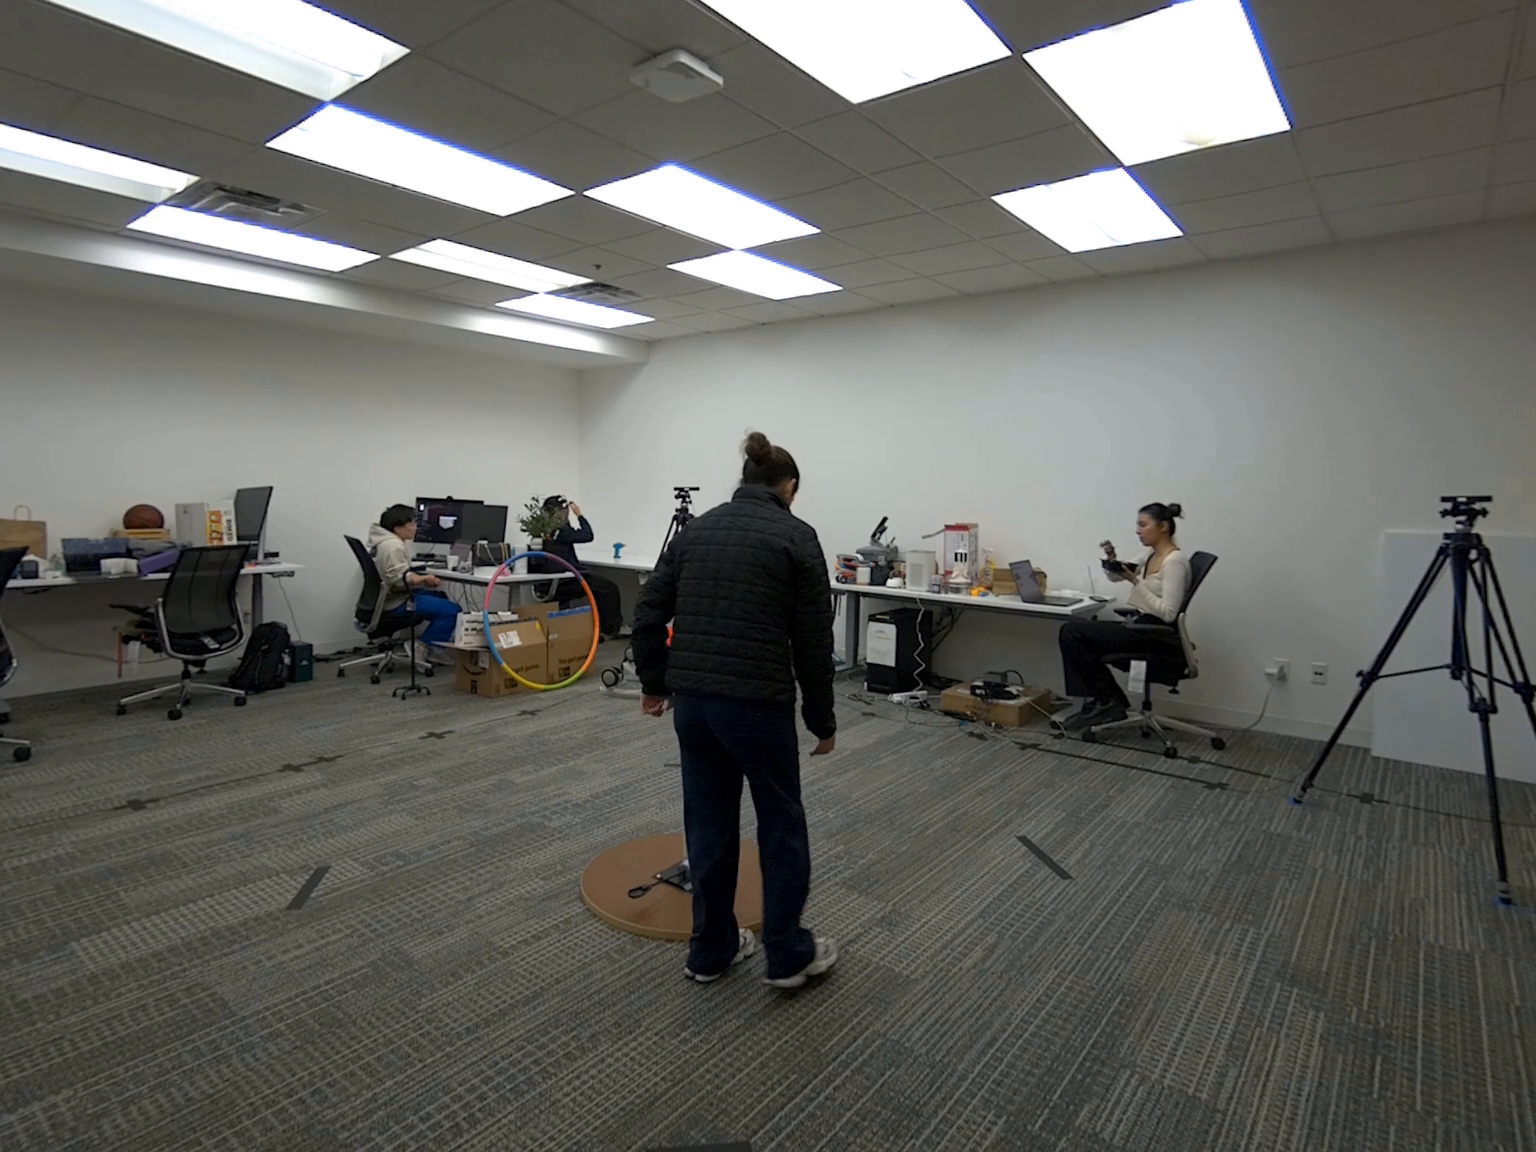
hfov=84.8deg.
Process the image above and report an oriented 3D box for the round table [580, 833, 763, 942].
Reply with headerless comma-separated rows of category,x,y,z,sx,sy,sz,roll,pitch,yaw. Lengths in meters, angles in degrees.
round table,-0.258,0.676,2.985,0.784,0.785,0.788,1,3,-2
